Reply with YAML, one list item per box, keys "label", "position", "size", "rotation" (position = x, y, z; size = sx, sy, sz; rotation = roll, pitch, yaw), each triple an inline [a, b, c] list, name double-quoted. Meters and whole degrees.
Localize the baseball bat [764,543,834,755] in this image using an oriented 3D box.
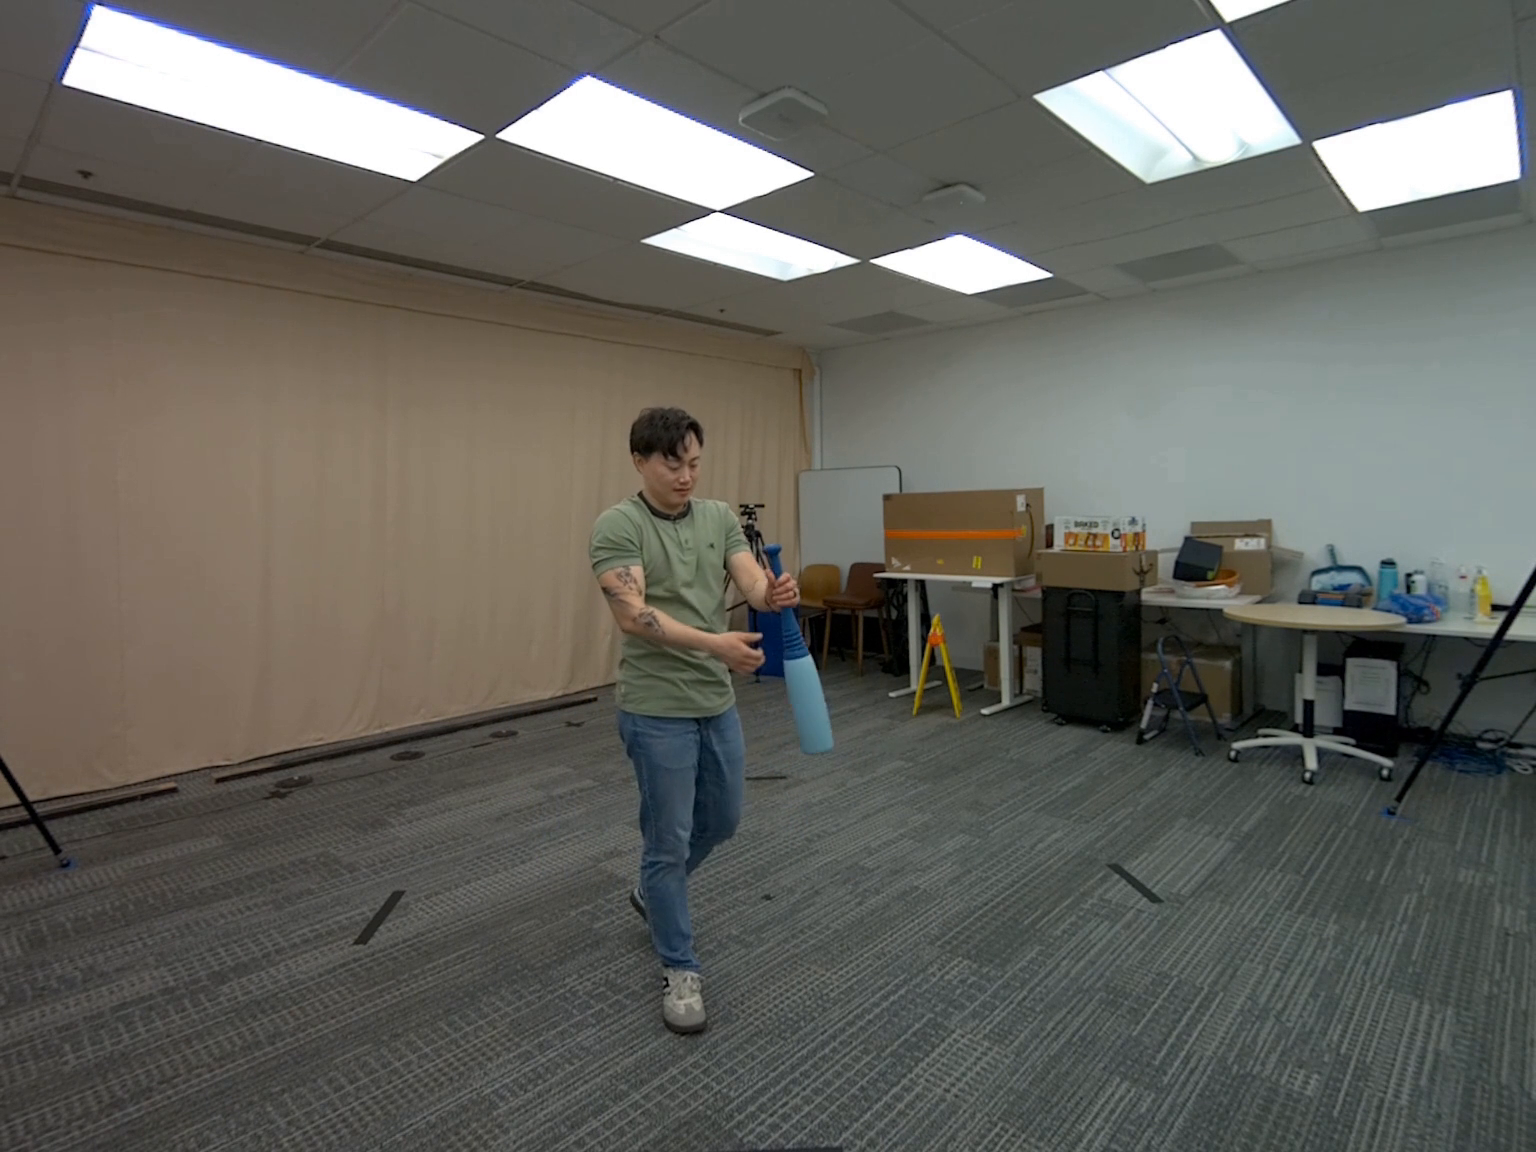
- label: "baseball bat"
  position: [0.072, 0.185, 2.110]
  size: [0.089, 0.541, 0.089]
  rotation: [-14, 3, -1]
